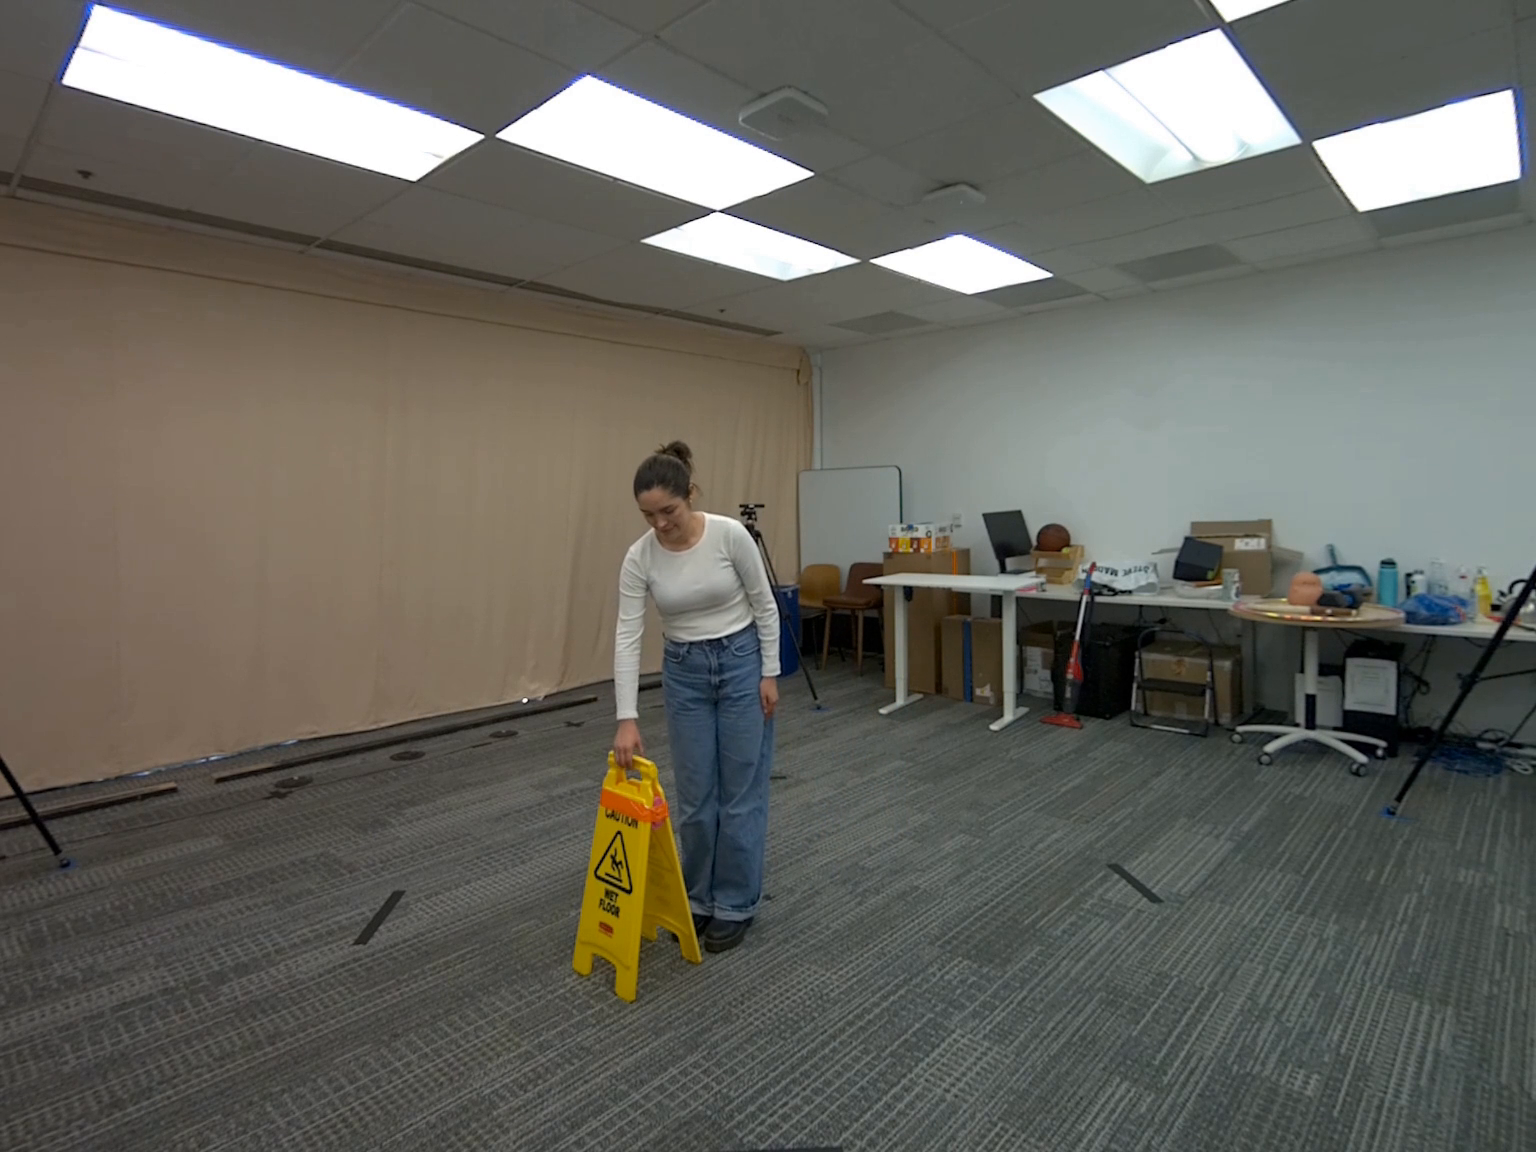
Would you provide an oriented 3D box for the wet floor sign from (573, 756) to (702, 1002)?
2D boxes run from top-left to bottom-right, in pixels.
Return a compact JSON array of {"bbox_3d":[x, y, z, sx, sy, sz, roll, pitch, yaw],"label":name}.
[{"bbox_3d":[-0.402,0.862,2.537,0.291,0.645,0.281,1,4,42],"label":"wet floor sign"}]
